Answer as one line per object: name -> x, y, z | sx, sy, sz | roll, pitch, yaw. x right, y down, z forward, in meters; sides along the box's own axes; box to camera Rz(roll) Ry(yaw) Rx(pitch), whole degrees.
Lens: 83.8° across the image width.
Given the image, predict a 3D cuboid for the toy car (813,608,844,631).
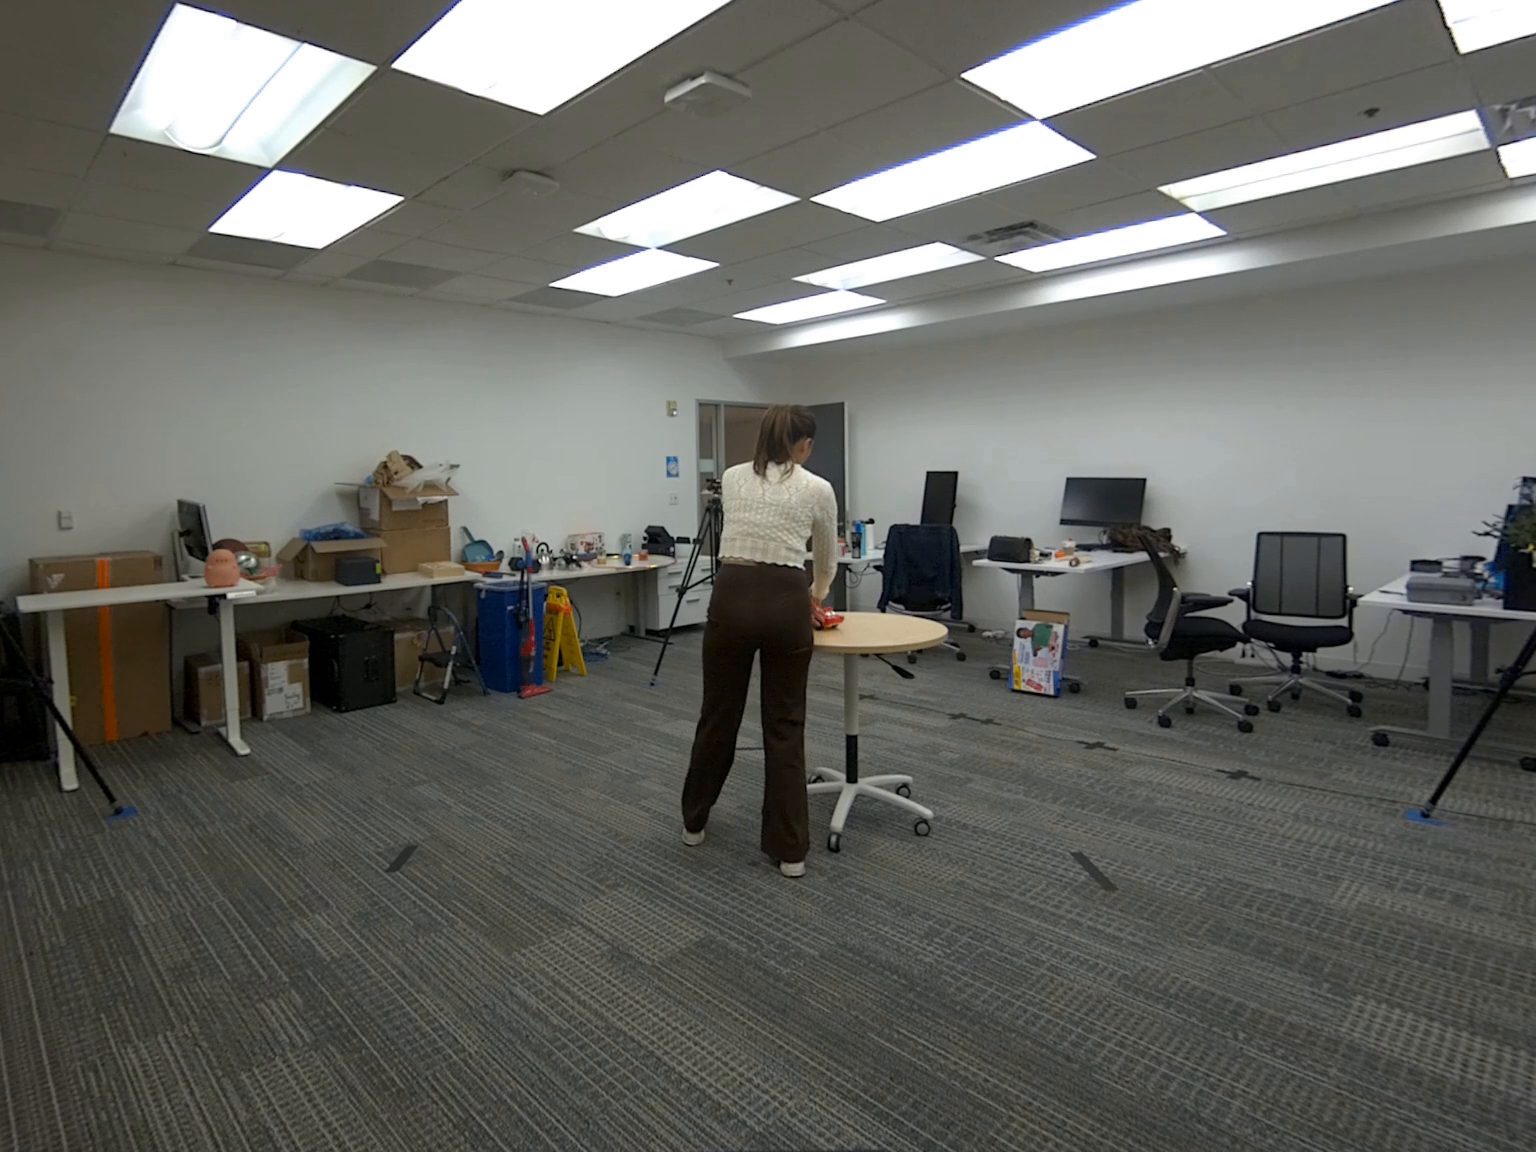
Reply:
toy car -> 0.207, 0.178, 3.503 | 0.127, 0.083, 0.260 | -5, -3, -39
